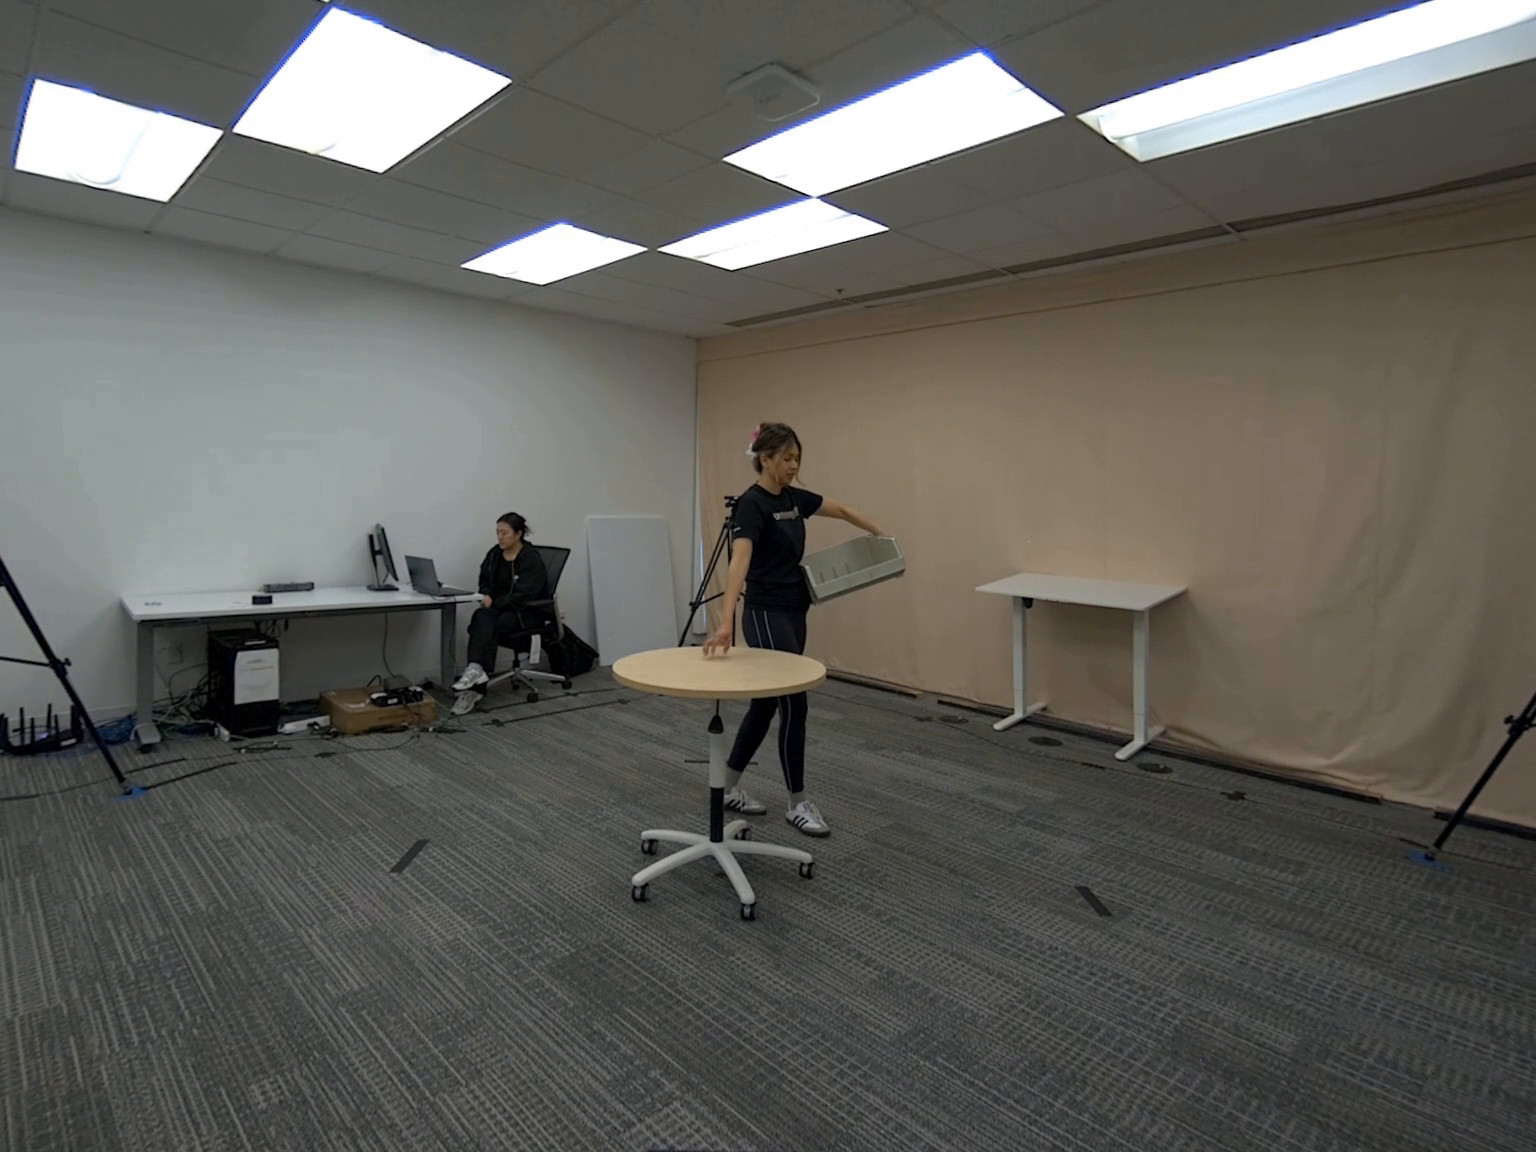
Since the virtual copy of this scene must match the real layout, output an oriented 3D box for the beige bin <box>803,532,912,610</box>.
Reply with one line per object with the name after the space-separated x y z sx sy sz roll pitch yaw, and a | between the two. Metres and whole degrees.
0.333 -0.034 3.682 0.420 0.188 0.381 -19 6 -9 | beige bin
